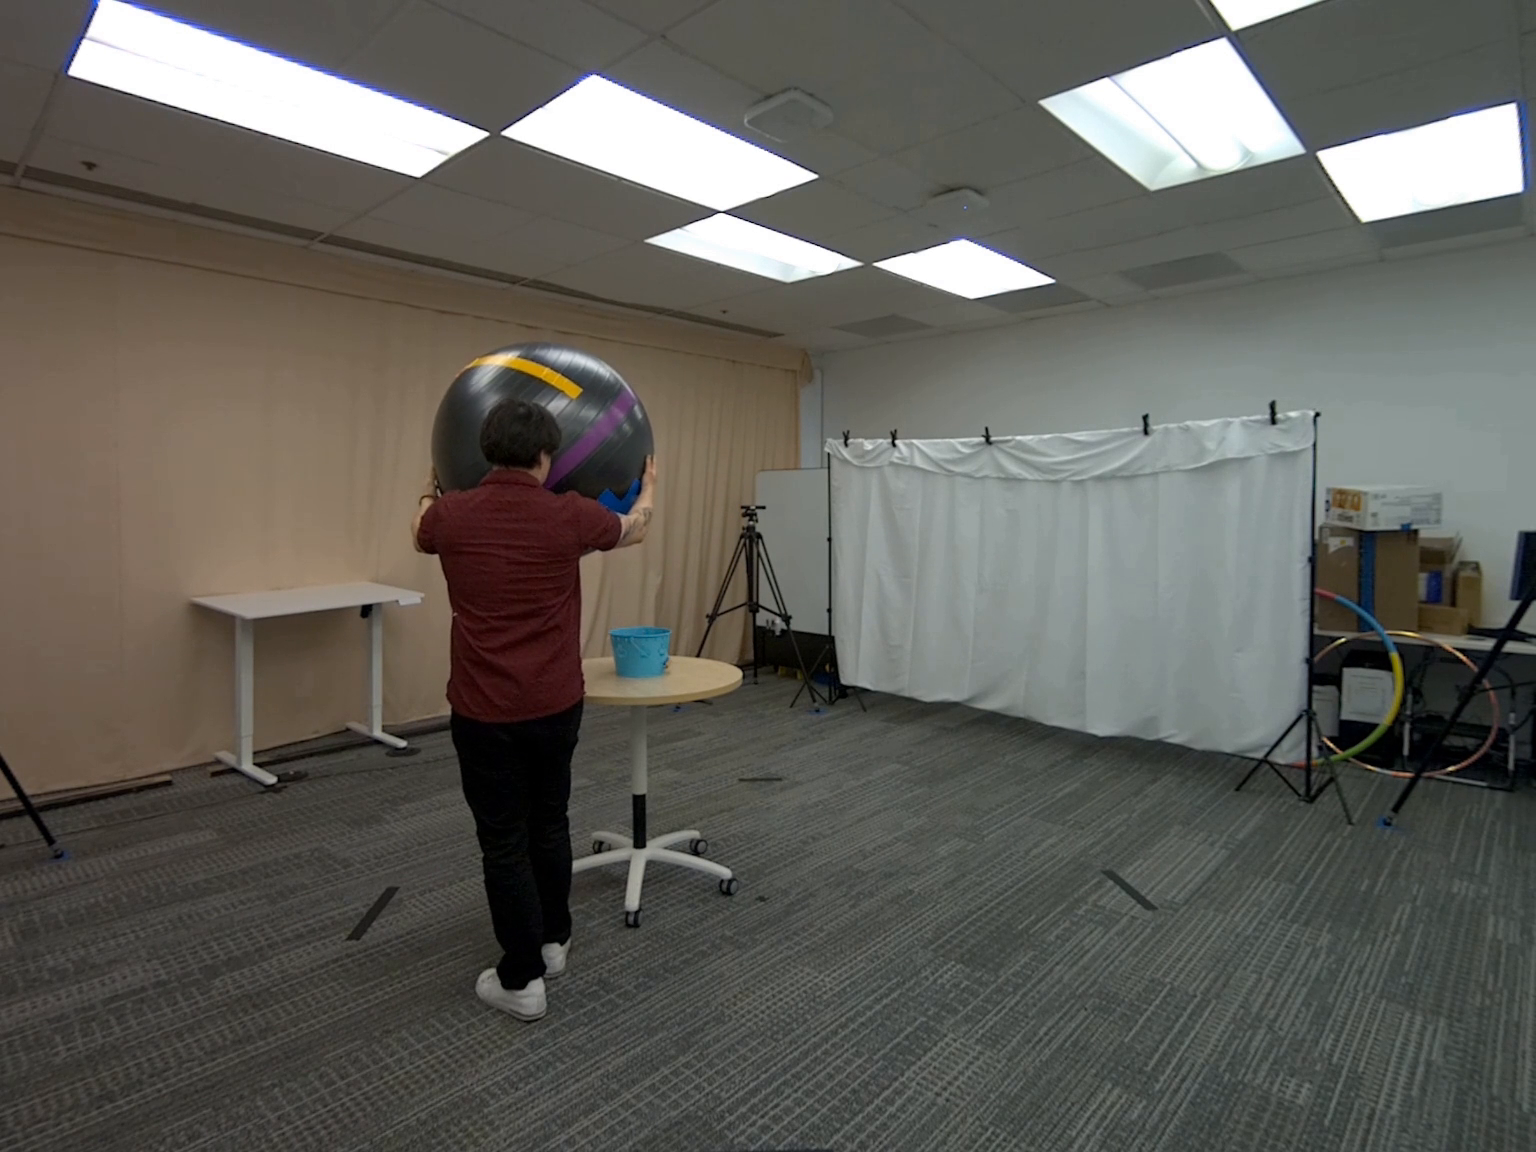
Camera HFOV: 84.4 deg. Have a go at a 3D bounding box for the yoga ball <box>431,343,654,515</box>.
[{"bbox_3d":[-0.779,-0.418,2.917,0.757,0.756,0.761,0,4,-2],"label":"yoga ball"}]
